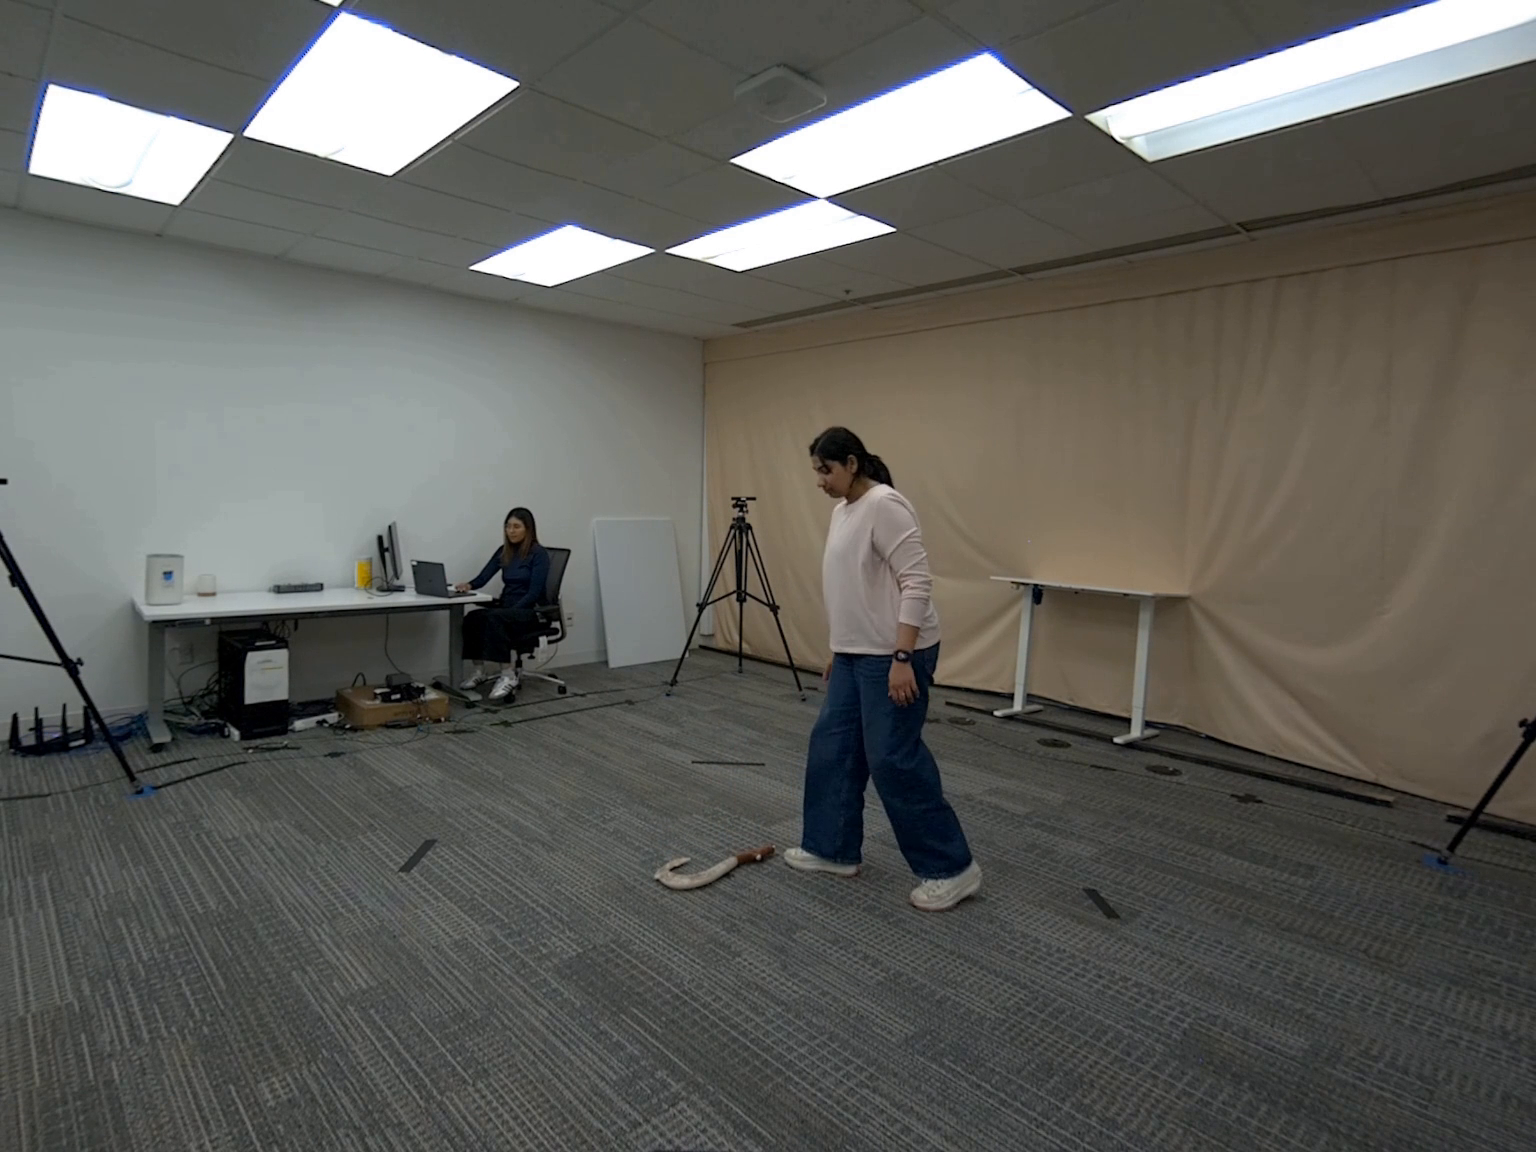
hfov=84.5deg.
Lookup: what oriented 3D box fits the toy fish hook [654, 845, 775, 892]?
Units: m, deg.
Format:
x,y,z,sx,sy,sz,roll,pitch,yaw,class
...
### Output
x,y,z,sx,sy,sz,roll,pitch,yaw,class
-0.200,1.072,3.175,0.495,0.048,0.230,-3,8,-41,toy fish hook
